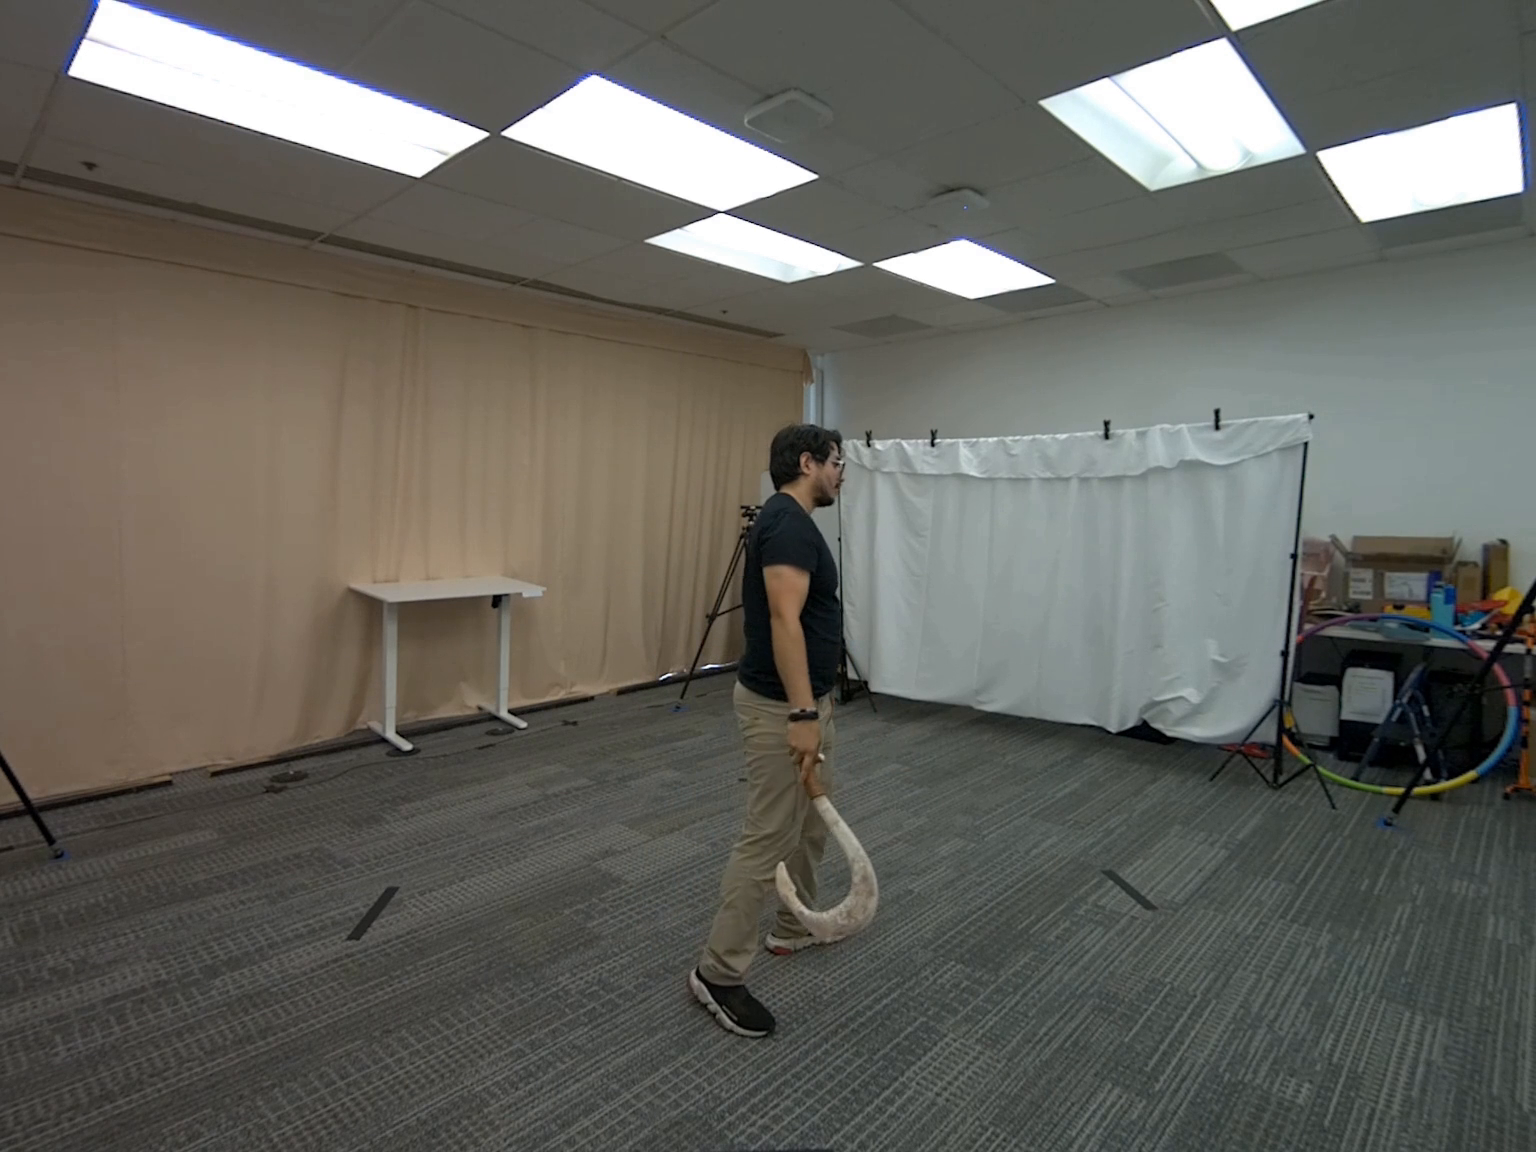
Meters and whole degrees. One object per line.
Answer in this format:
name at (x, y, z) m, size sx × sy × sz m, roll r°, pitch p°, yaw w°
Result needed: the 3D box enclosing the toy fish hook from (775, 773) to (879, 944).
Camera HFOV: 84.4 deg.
toy fish hook at (0.112, 0.595, 2.042) m, size 0.225 × 0.518 × 0.047 m, roll -17°, pitch -26°, yaw 1°
